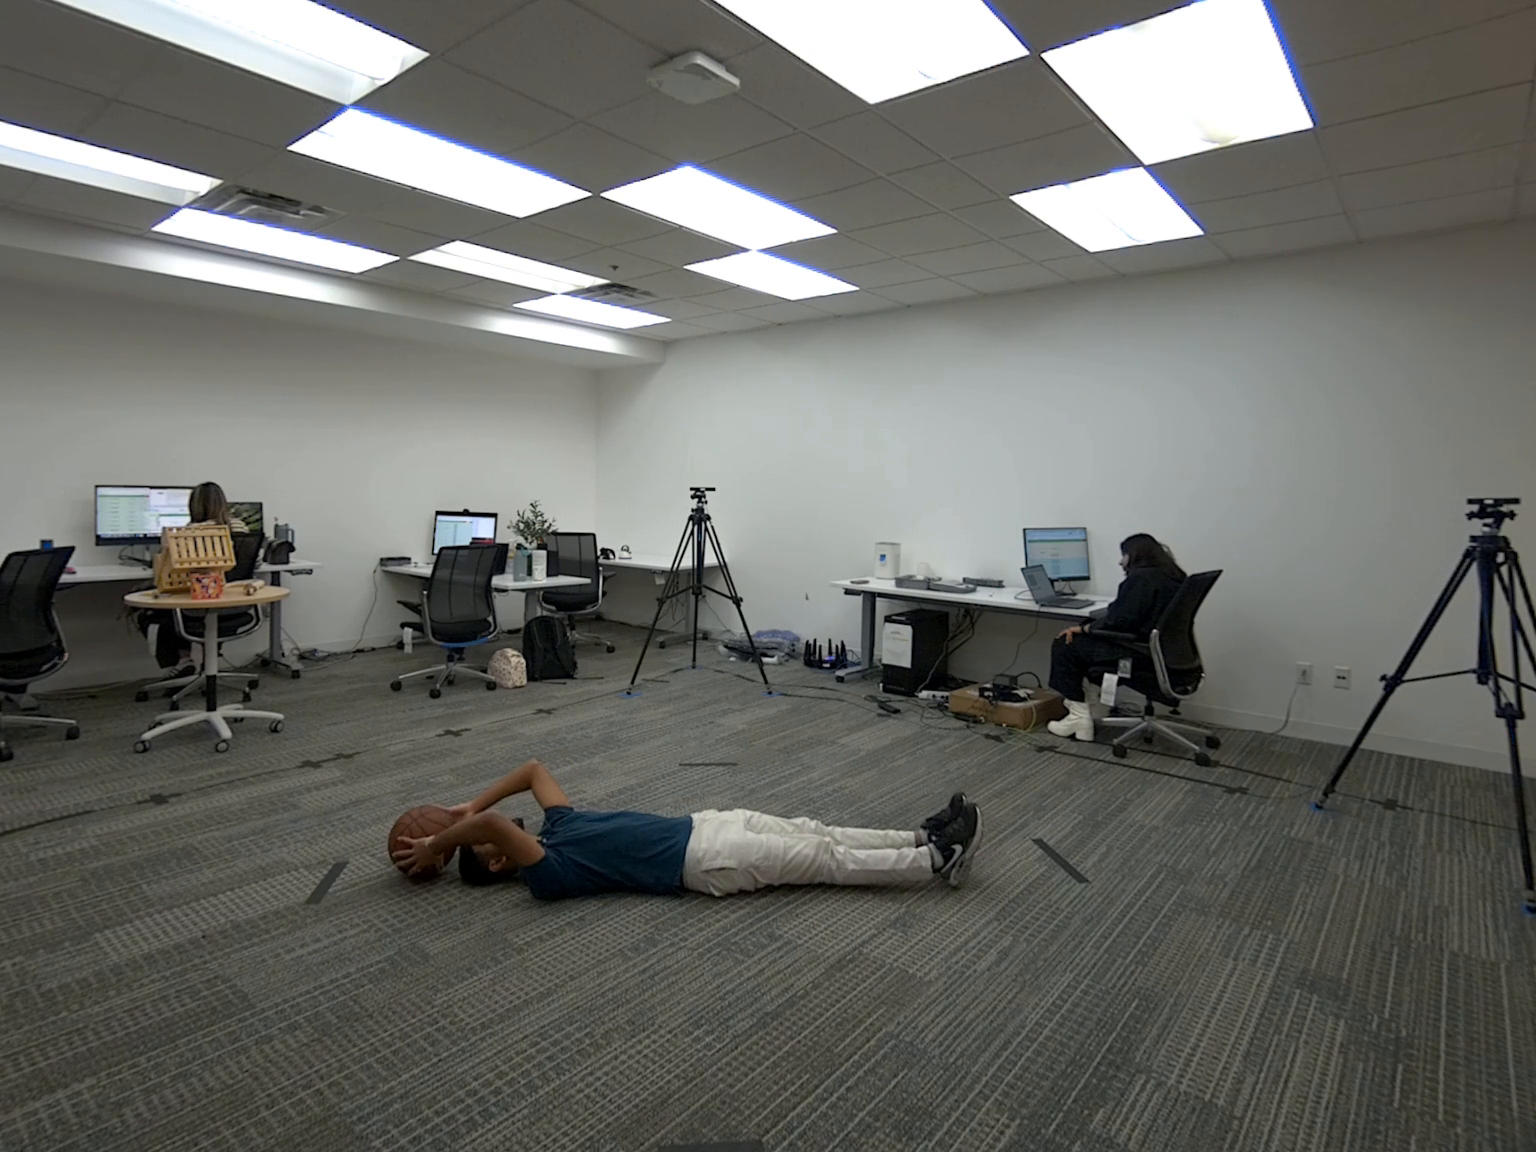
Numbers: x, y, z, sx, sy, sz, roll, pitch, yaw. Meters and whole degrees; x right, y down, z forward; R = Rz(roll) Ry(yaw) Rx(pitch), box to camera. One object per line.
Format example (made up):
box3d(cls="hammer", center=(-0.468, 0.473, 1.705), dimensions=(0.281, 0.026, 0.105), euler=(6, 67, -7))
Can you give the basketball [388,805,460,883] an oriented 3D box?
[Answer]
box3d(cls="basketball", center=(-1.245, 0.940, 3.022), dimensions=(0.235, 0.235, 0.237), euler=(1, 4, -2))
